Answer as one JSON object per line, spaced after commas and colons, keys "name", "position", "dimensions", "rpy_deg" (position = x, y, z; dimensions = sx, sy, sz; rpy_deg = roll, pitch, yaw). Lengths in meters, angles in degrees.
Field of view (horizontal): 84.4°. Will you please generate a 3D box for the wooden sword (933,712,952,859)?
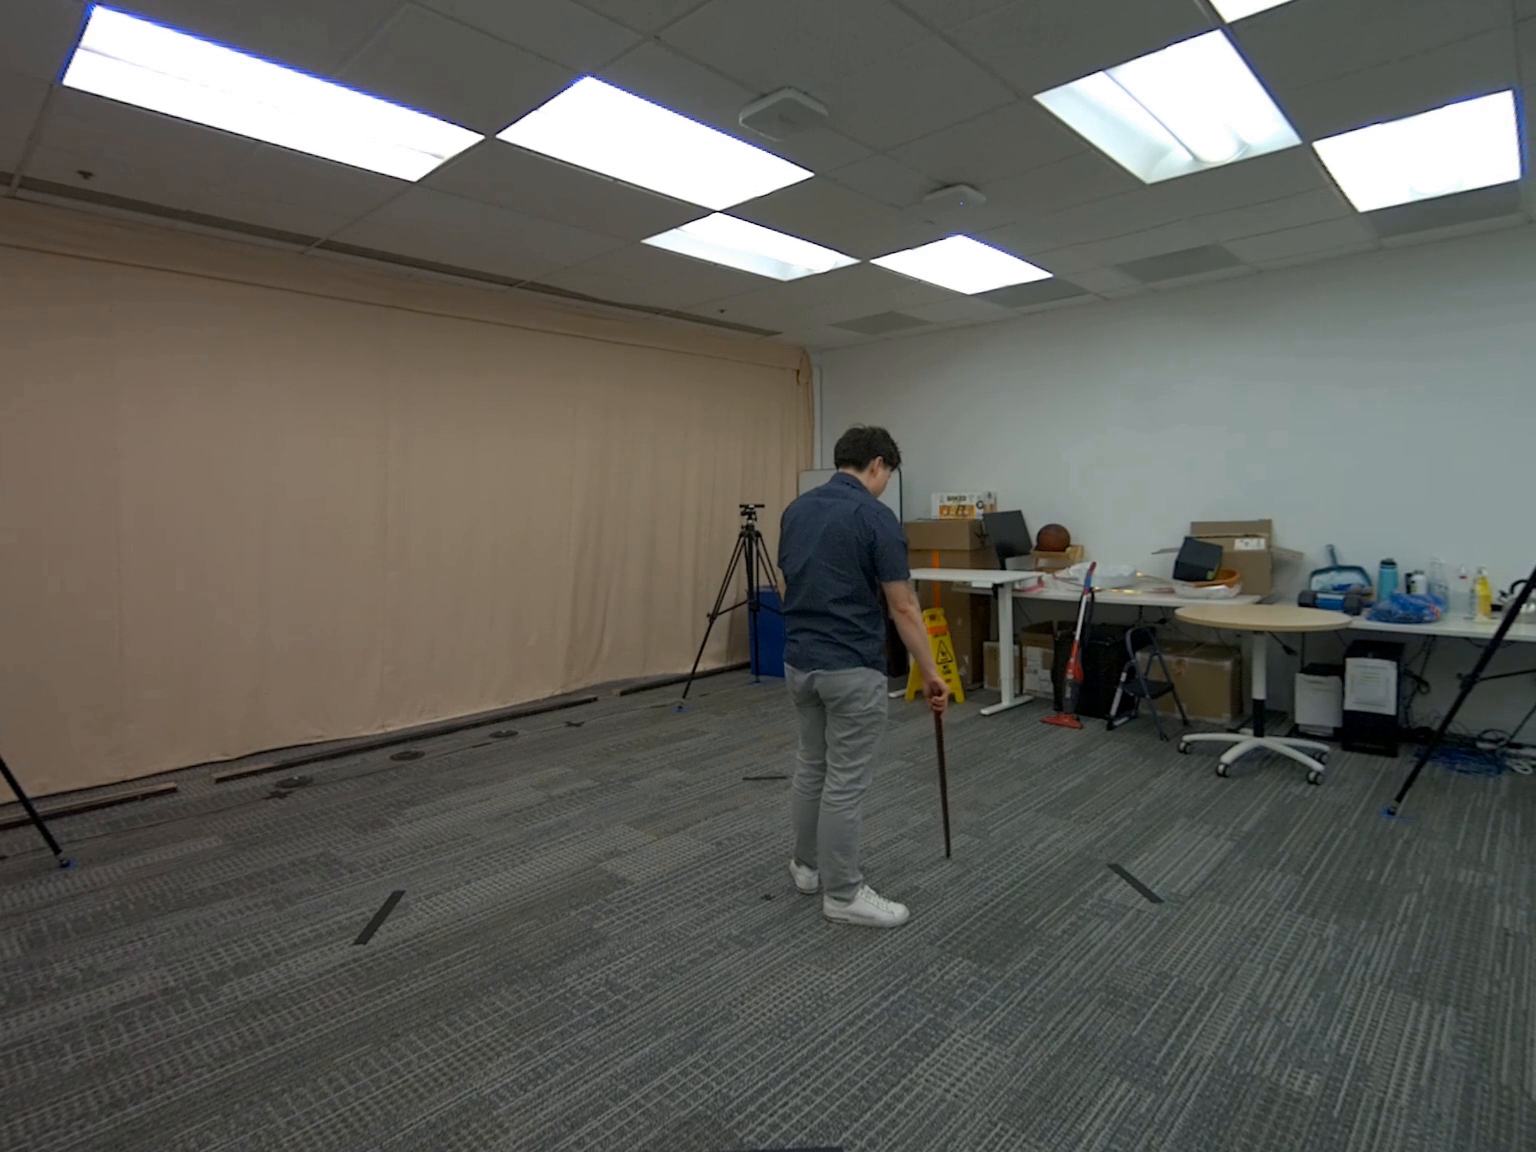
{"name": "wooden sword", "position": [0.627, 0.740, 2.979], "dimensions": [0.024, 0.998, 0.053], "rpy_deg": [-25, 43, -13]}
